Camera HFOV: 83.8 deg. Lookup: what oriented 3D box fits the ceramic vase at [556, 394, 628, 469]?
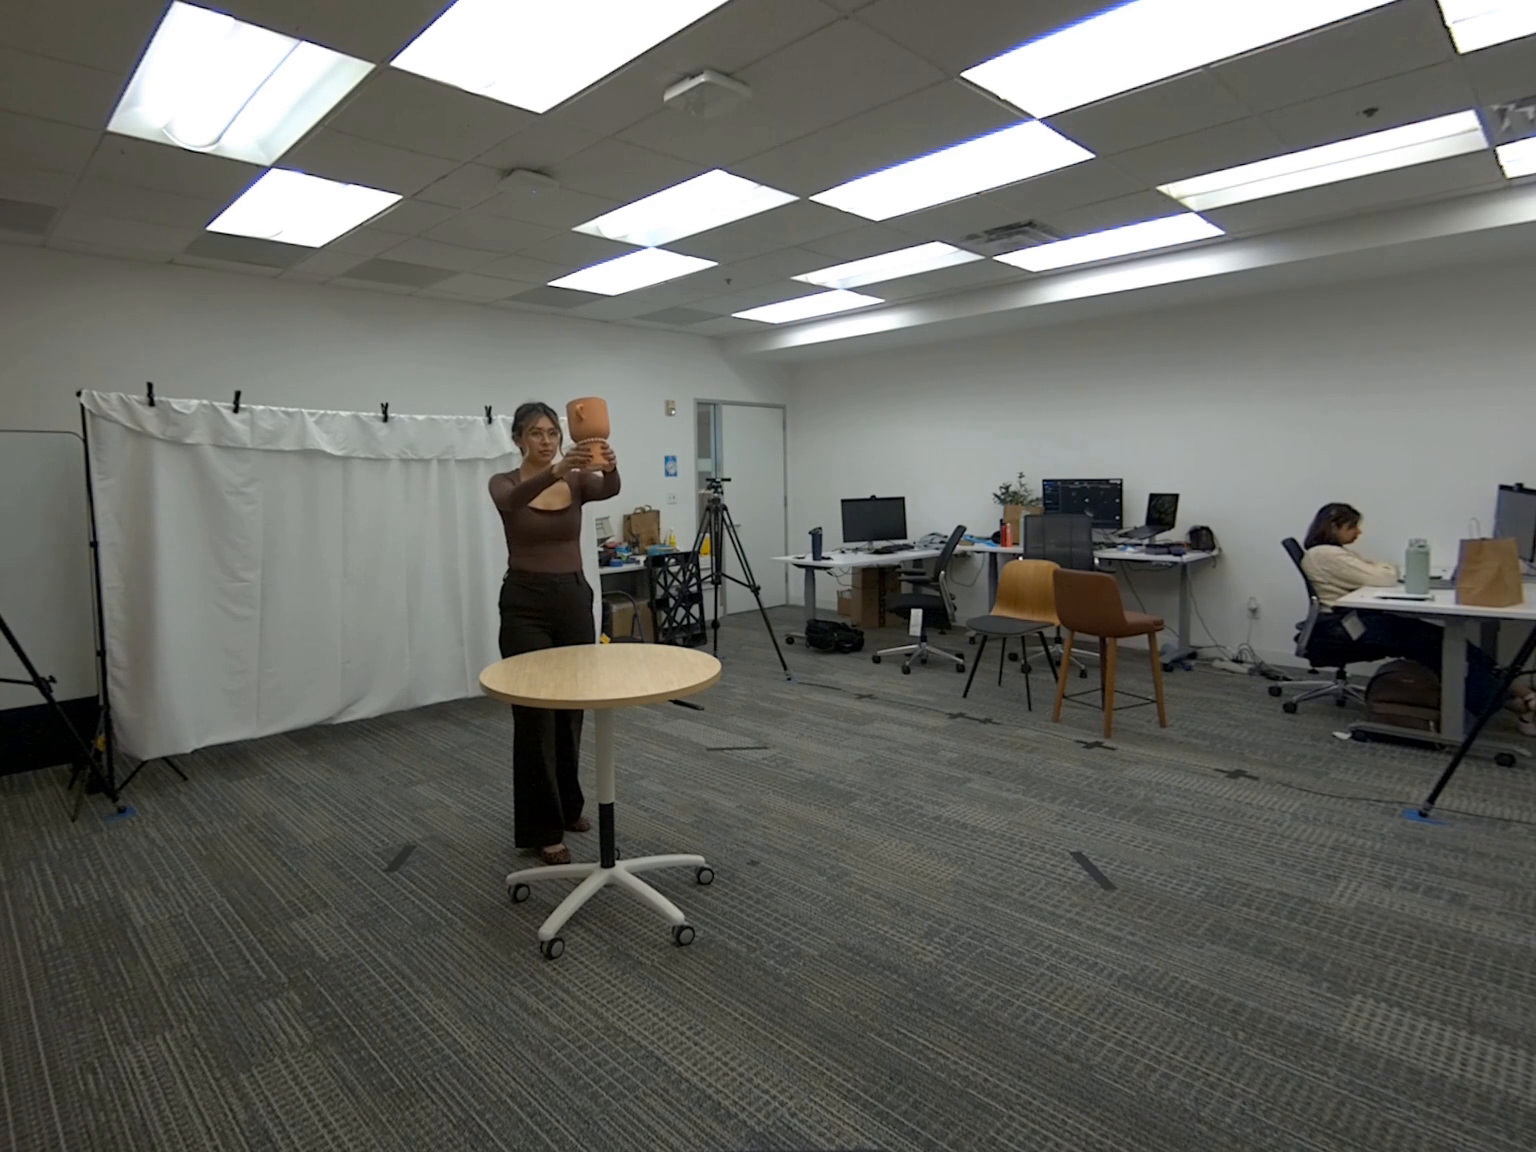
[{"bbox_3d":[-0.572,-0.457,2.778,0.154,0.222,0.137,-1,-10,-42],"label":"ceramic vase"}]
